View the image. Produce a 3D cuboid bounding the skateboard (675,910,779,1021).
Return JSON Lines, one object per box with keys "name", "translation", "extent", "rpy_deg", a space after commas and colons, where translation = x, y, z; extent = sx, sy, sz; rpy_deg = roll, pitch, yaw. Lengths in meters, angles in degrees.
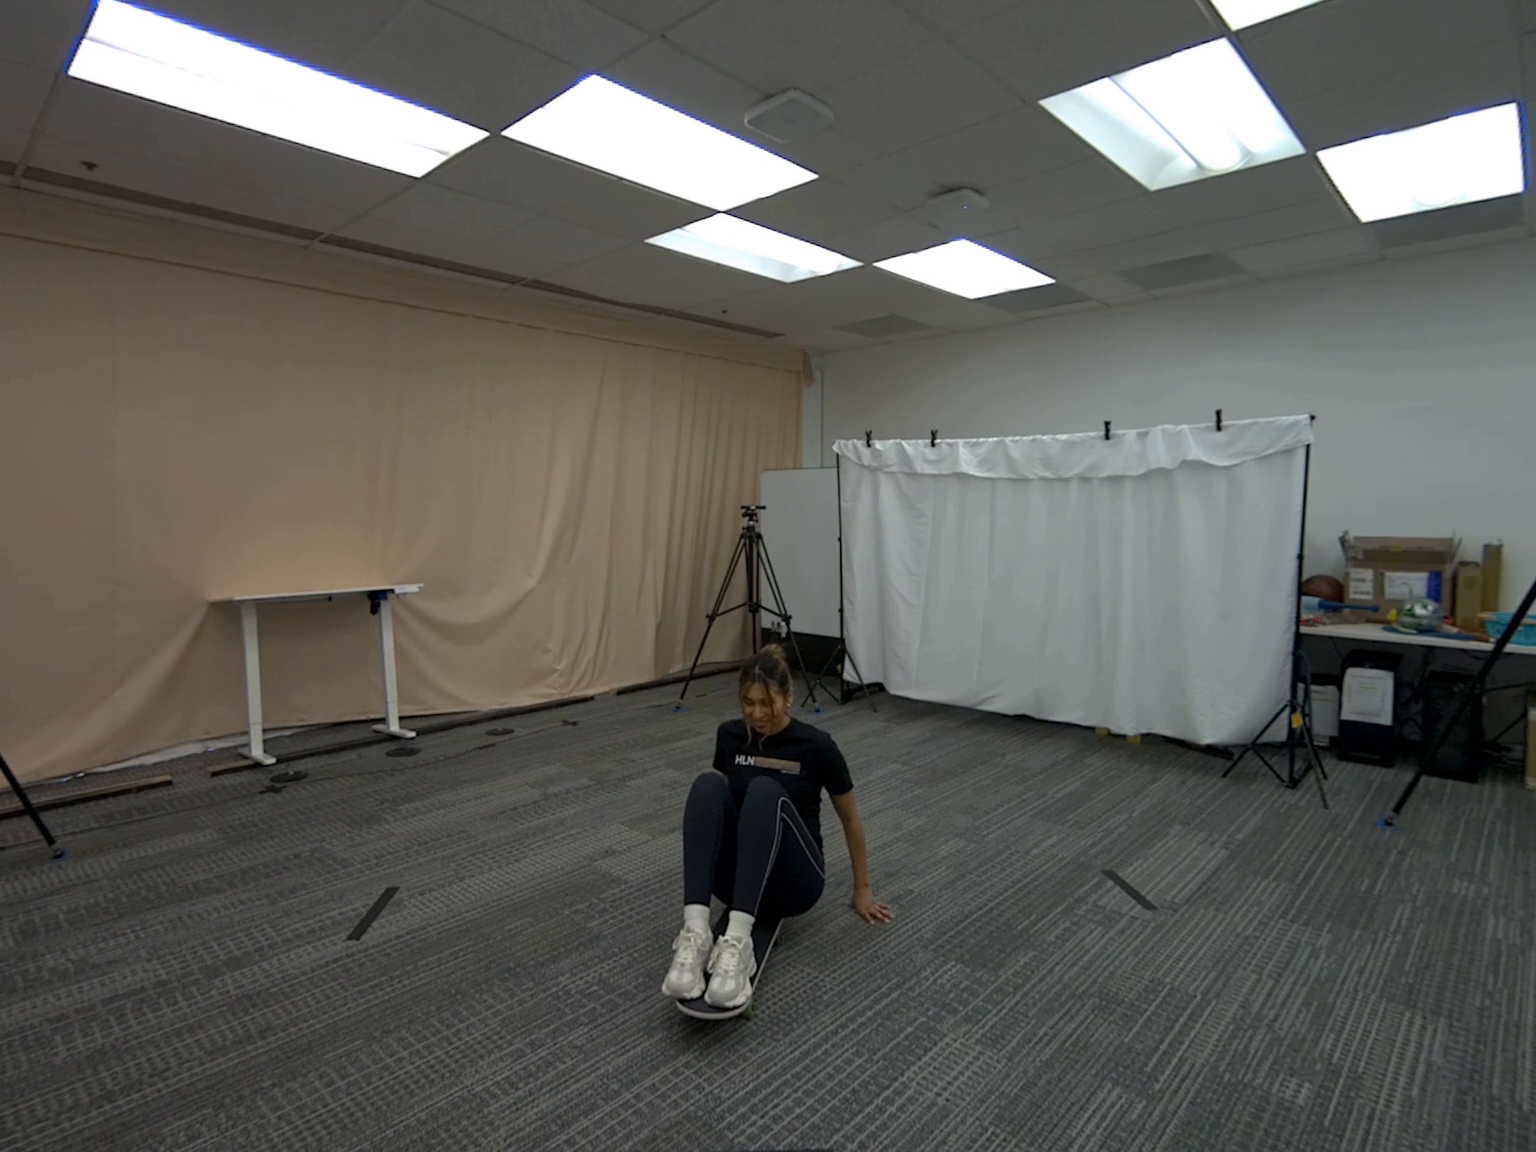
{"name": "skateboard", "translation": [-0.088, 1.127, 2.511], "extent": [0.196, 0.110, 0.776], "rpy_deg": [-1, 4, 12]}
